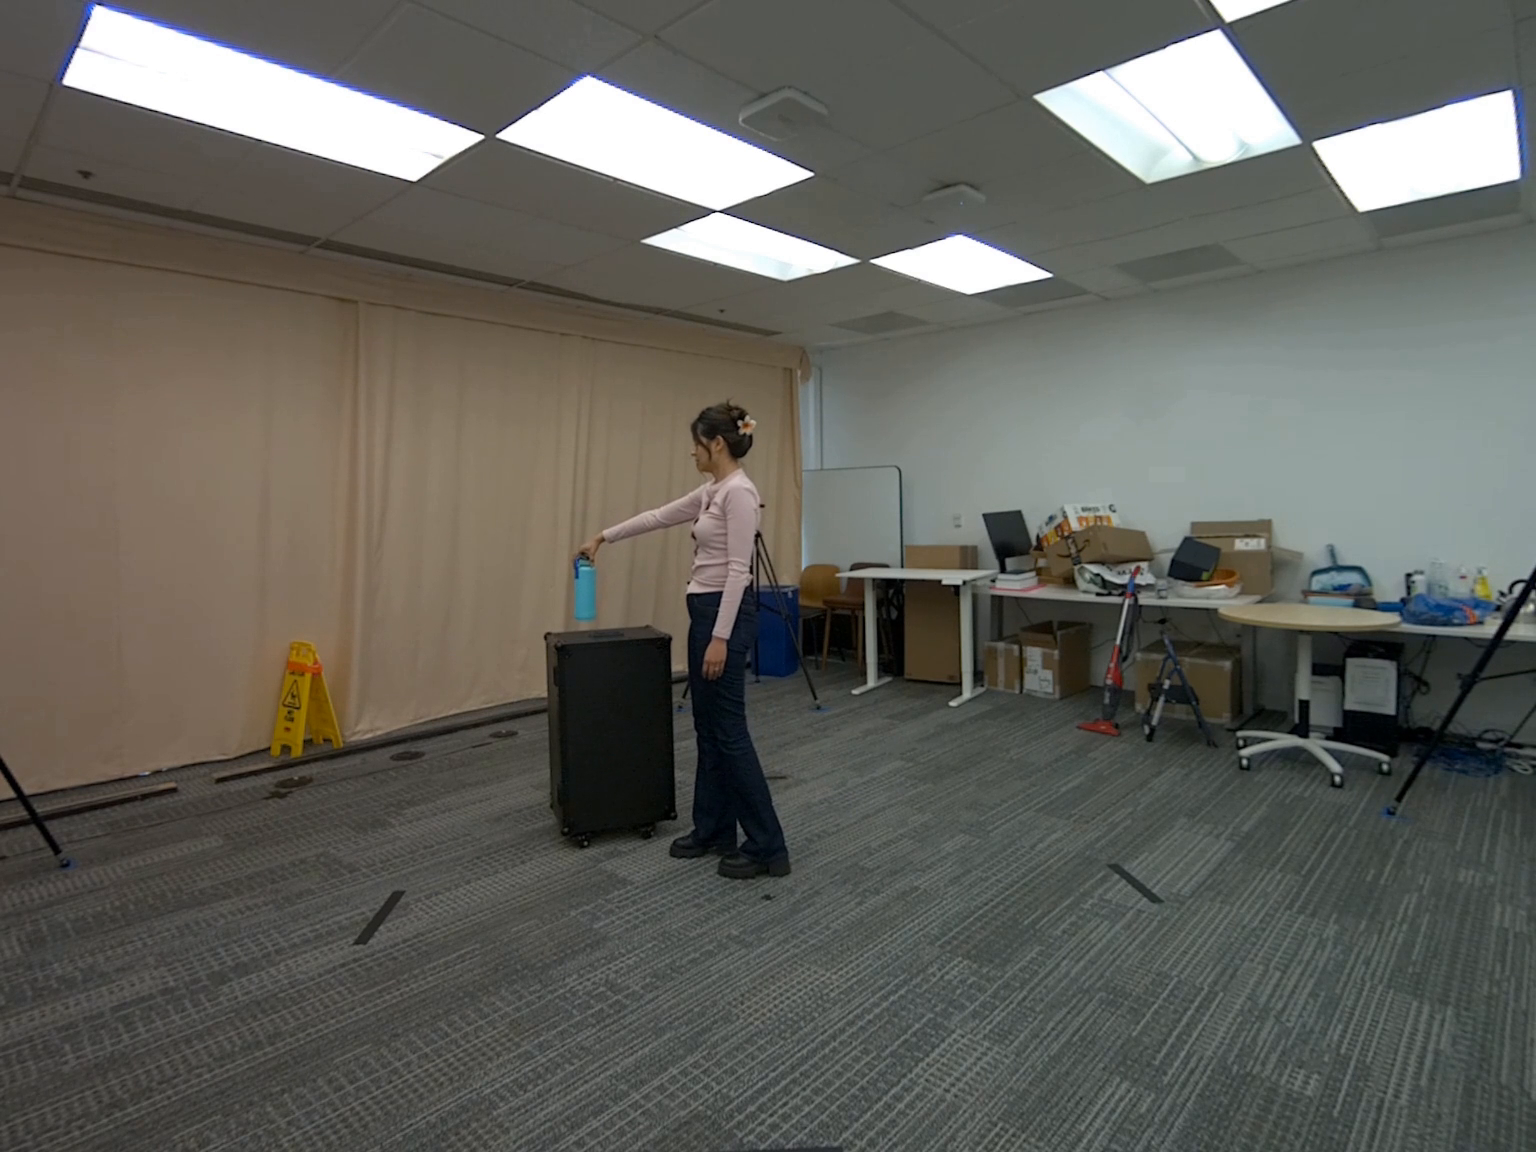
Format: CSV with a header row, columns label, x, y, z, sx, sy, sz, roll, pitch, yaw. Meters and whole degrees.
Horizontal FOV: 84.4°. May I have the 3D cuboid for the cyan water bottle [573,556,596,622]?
label,x,y,z,sx,sy,sz,roll,pitch,yaw
cyan water bottle,-0.779,0.041,3.564,0.092,0.282,0.093,2,4,-2
